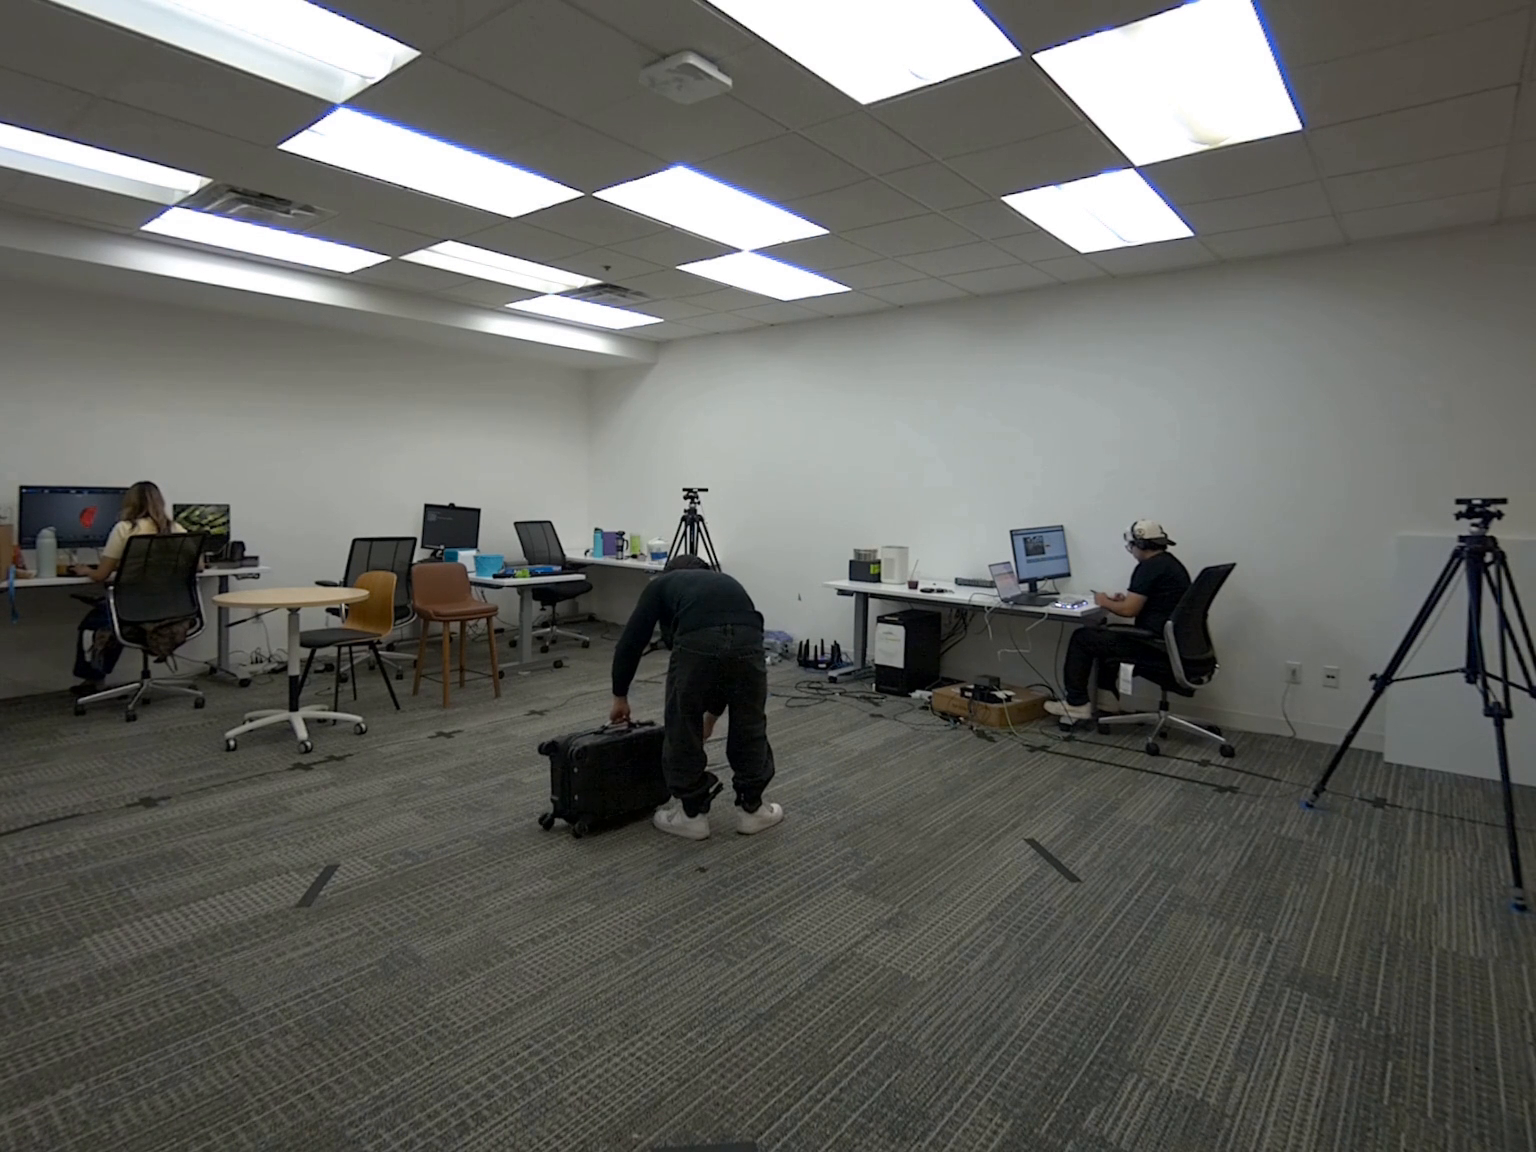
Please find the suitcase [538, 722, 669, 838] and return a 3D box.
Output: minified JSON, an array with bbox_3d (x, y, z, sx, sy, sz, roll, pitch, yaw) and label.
[{"bbox_3d":[-0.538,0.805,3.711,0.265,0.384,0.948,-3,0,42],"label":"suitcase"}]
